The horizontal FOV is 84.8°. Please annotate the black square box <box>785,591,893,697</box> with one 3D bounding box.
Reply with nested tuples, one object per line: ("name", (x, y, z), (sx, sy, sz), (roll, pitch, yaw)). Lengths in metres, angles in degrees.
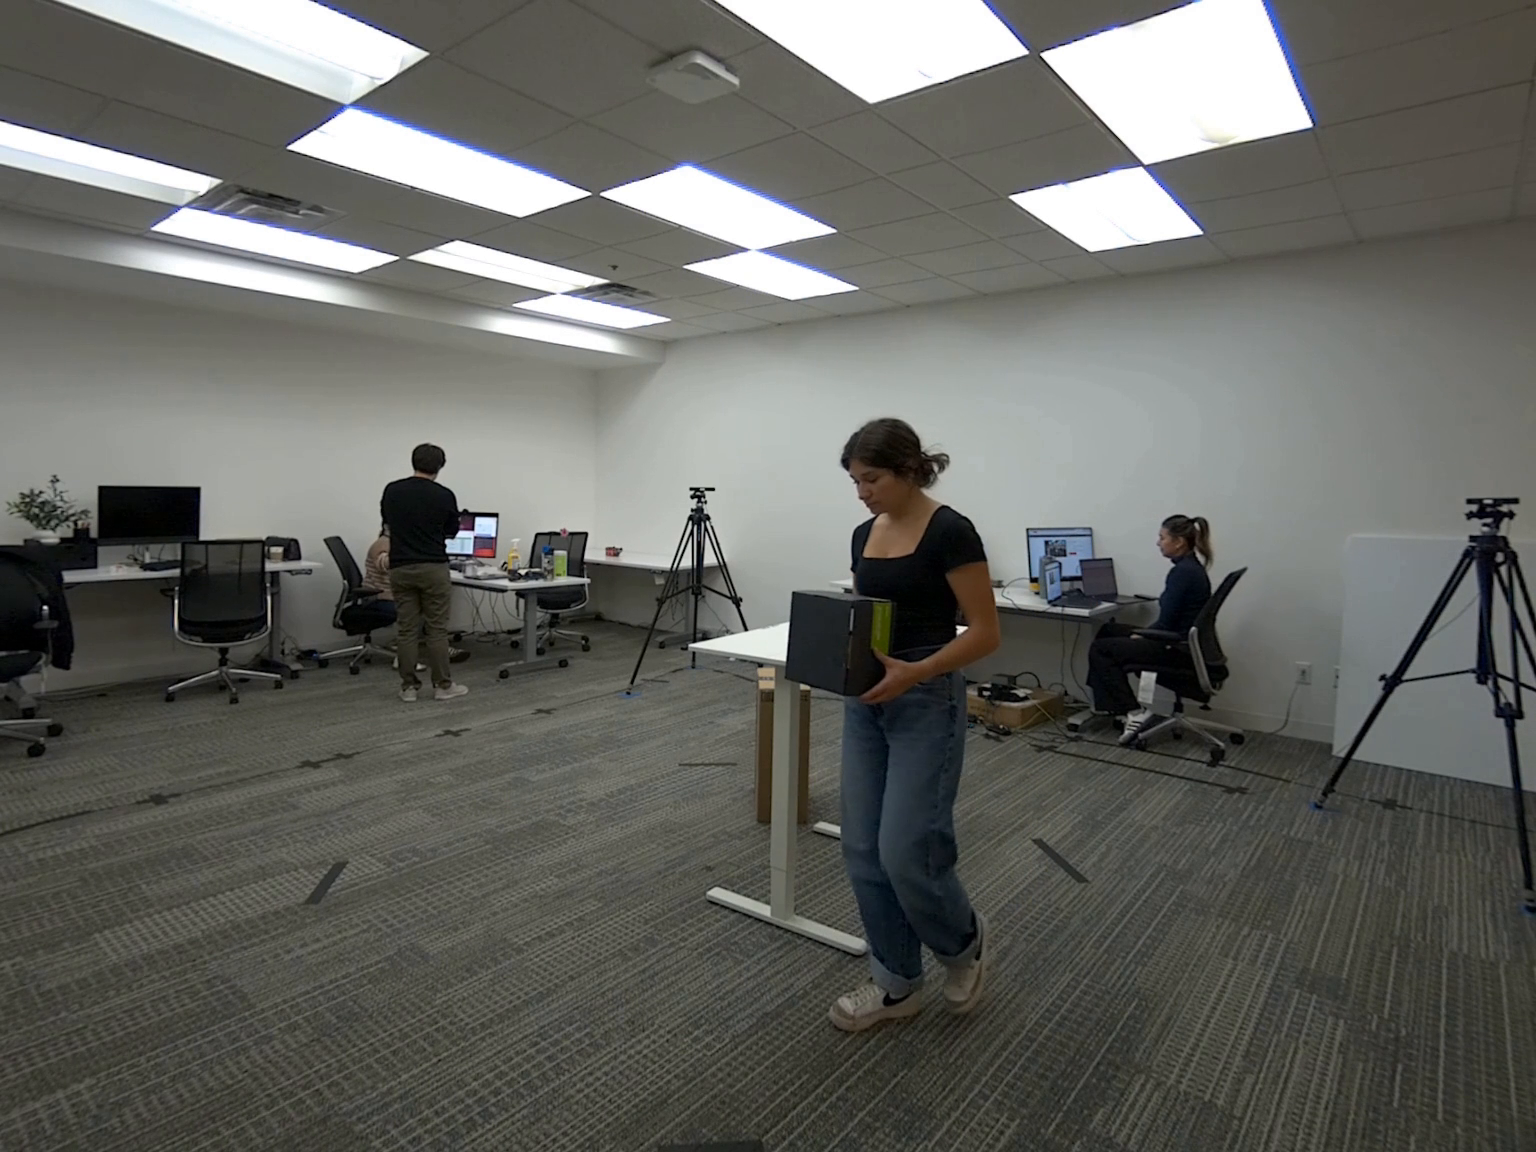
("black square box", (0.177, 0.158, 2.109), (0.151, 0.228, 0.224), (3, 2, -40))
